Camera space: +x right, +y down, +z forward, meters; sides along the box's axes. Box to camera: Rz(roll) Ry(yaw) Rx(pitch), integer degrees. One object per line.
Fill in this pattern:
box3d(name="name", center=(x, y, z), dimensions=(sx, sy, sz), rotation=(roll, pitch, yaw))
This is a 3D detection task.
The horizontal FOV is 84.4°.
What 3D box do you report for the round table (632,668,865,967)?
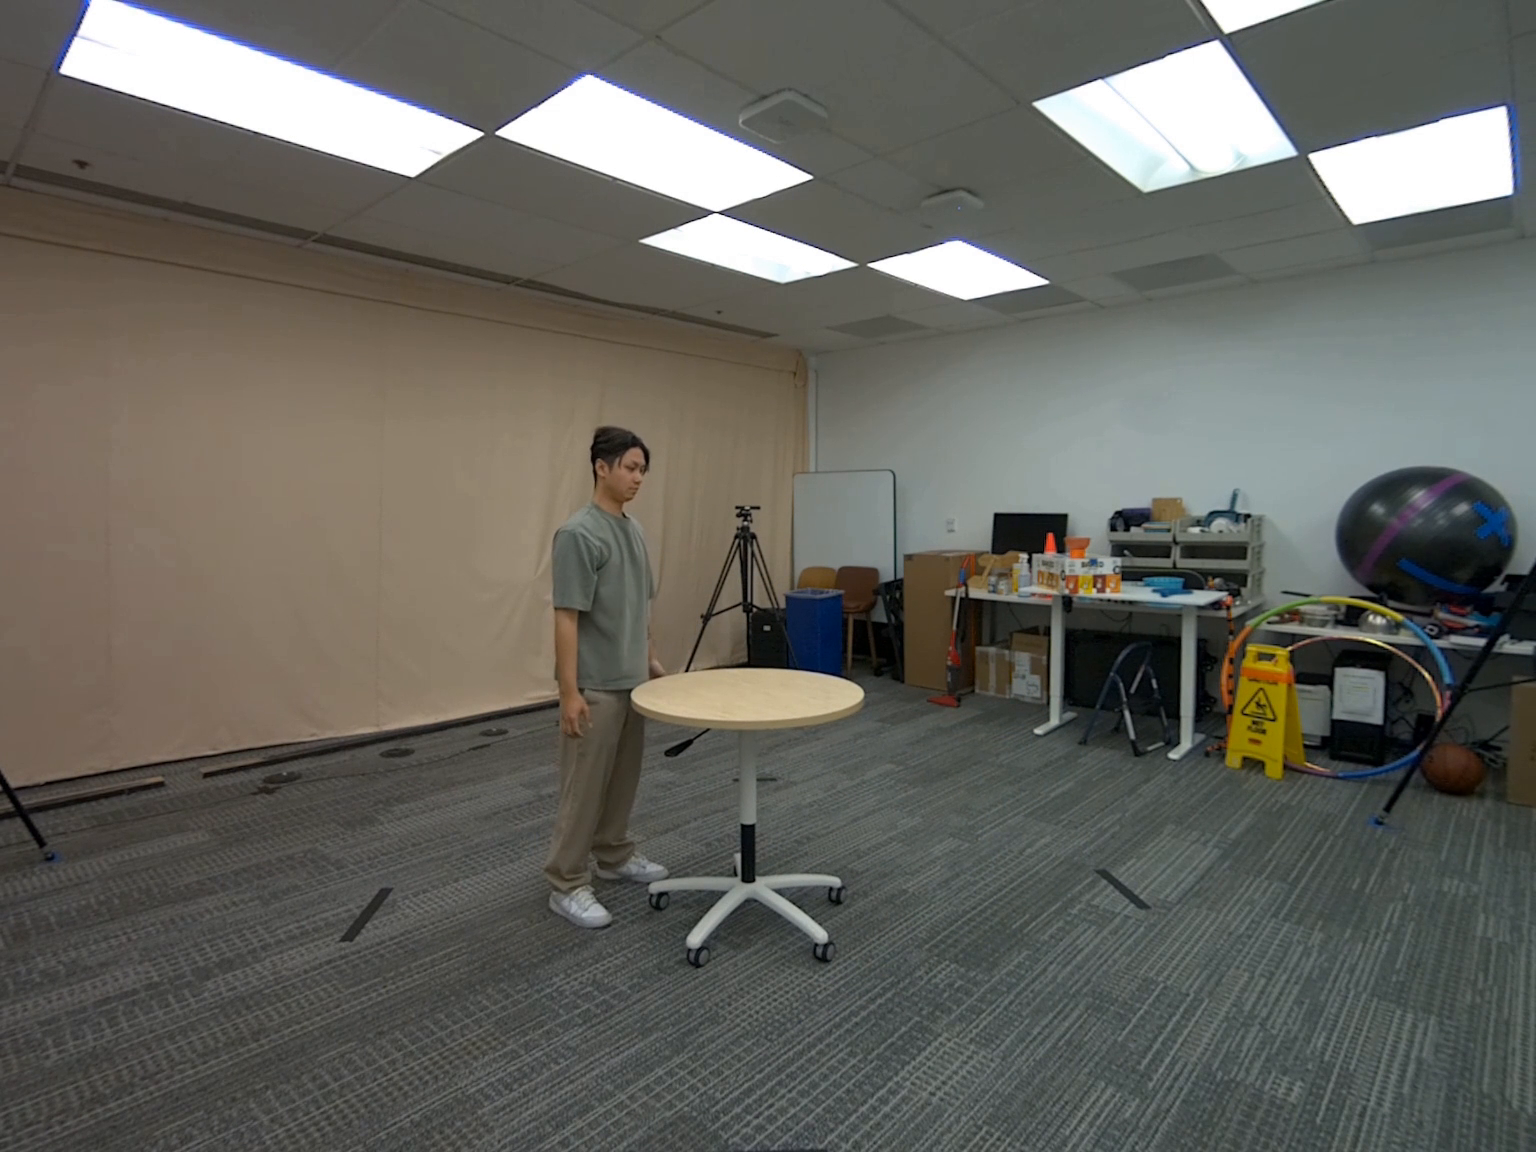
box3d(name="round table", center=(-0.056, 0.769, 2.813), dimensions=(0.784, 0.784, 0.788), rotation=(-1, 4, -2))
